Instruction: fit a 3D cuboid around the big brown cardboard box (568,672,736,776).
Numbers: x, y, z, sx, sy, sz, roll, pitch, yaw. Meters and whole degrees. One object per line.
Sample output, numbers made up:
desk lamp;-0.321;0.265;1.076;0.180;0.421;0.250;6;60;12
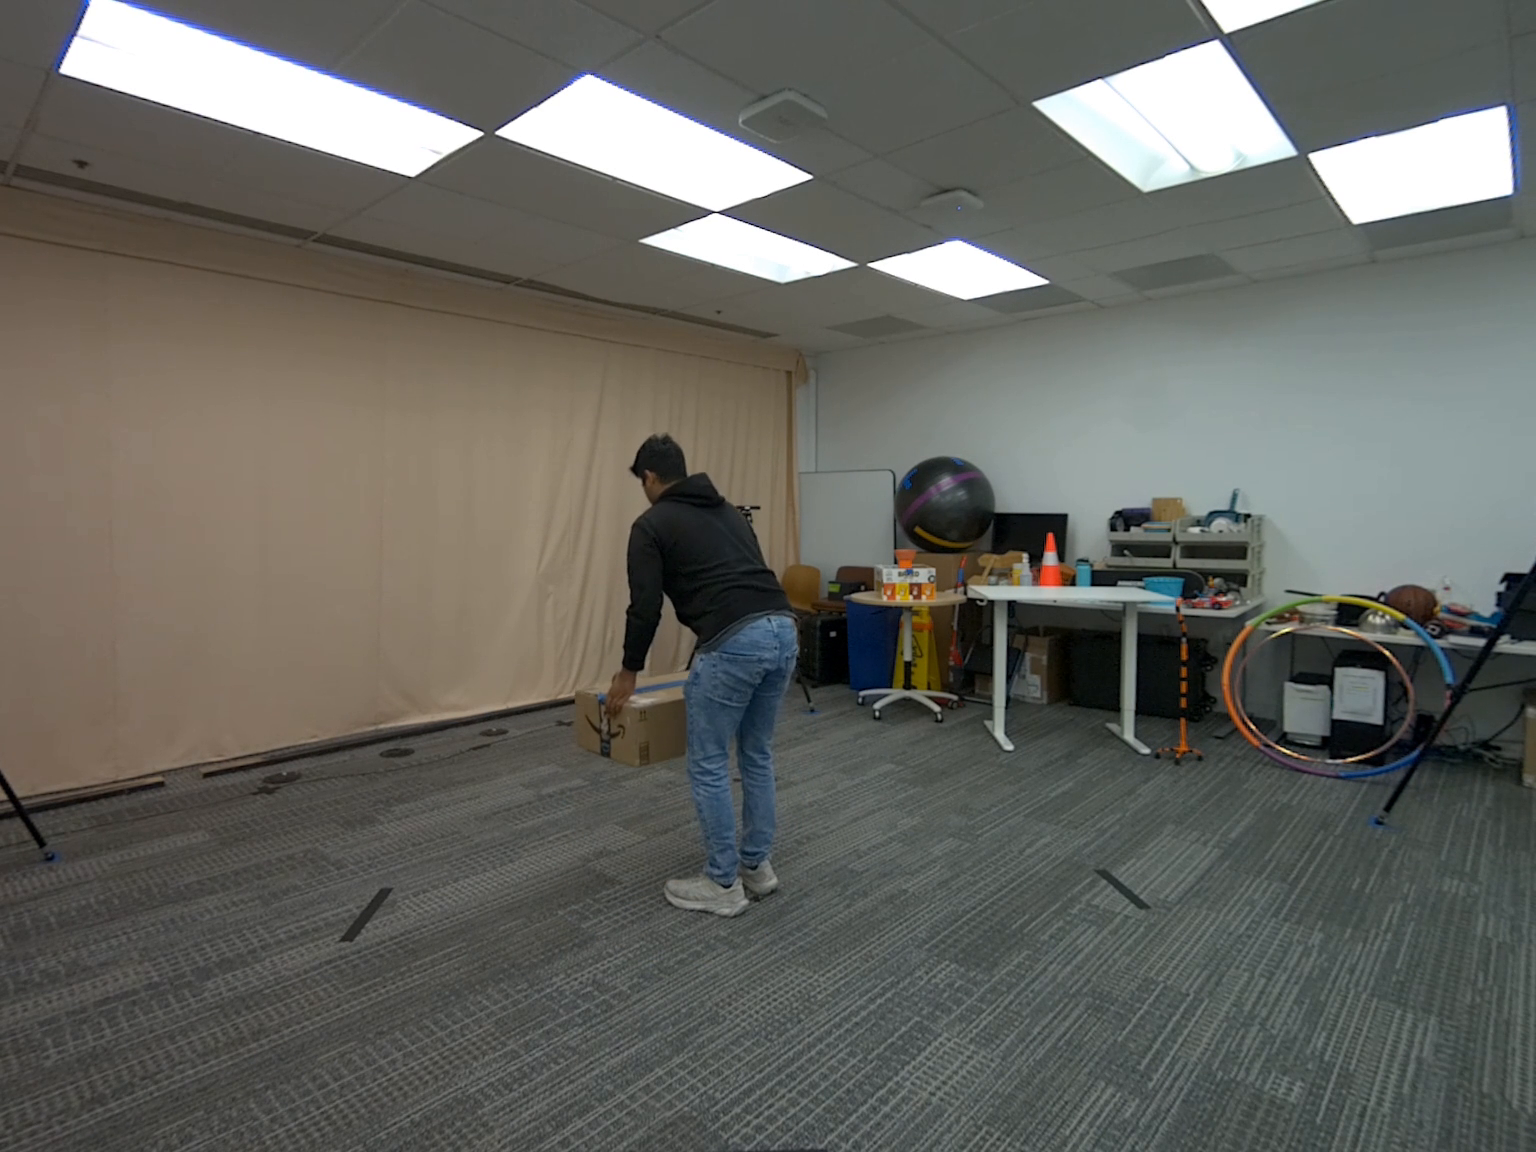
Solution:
big brown cardboard box;-0.402;0.544;3.258;0.571;0.233;0.431;-4;4;-41
